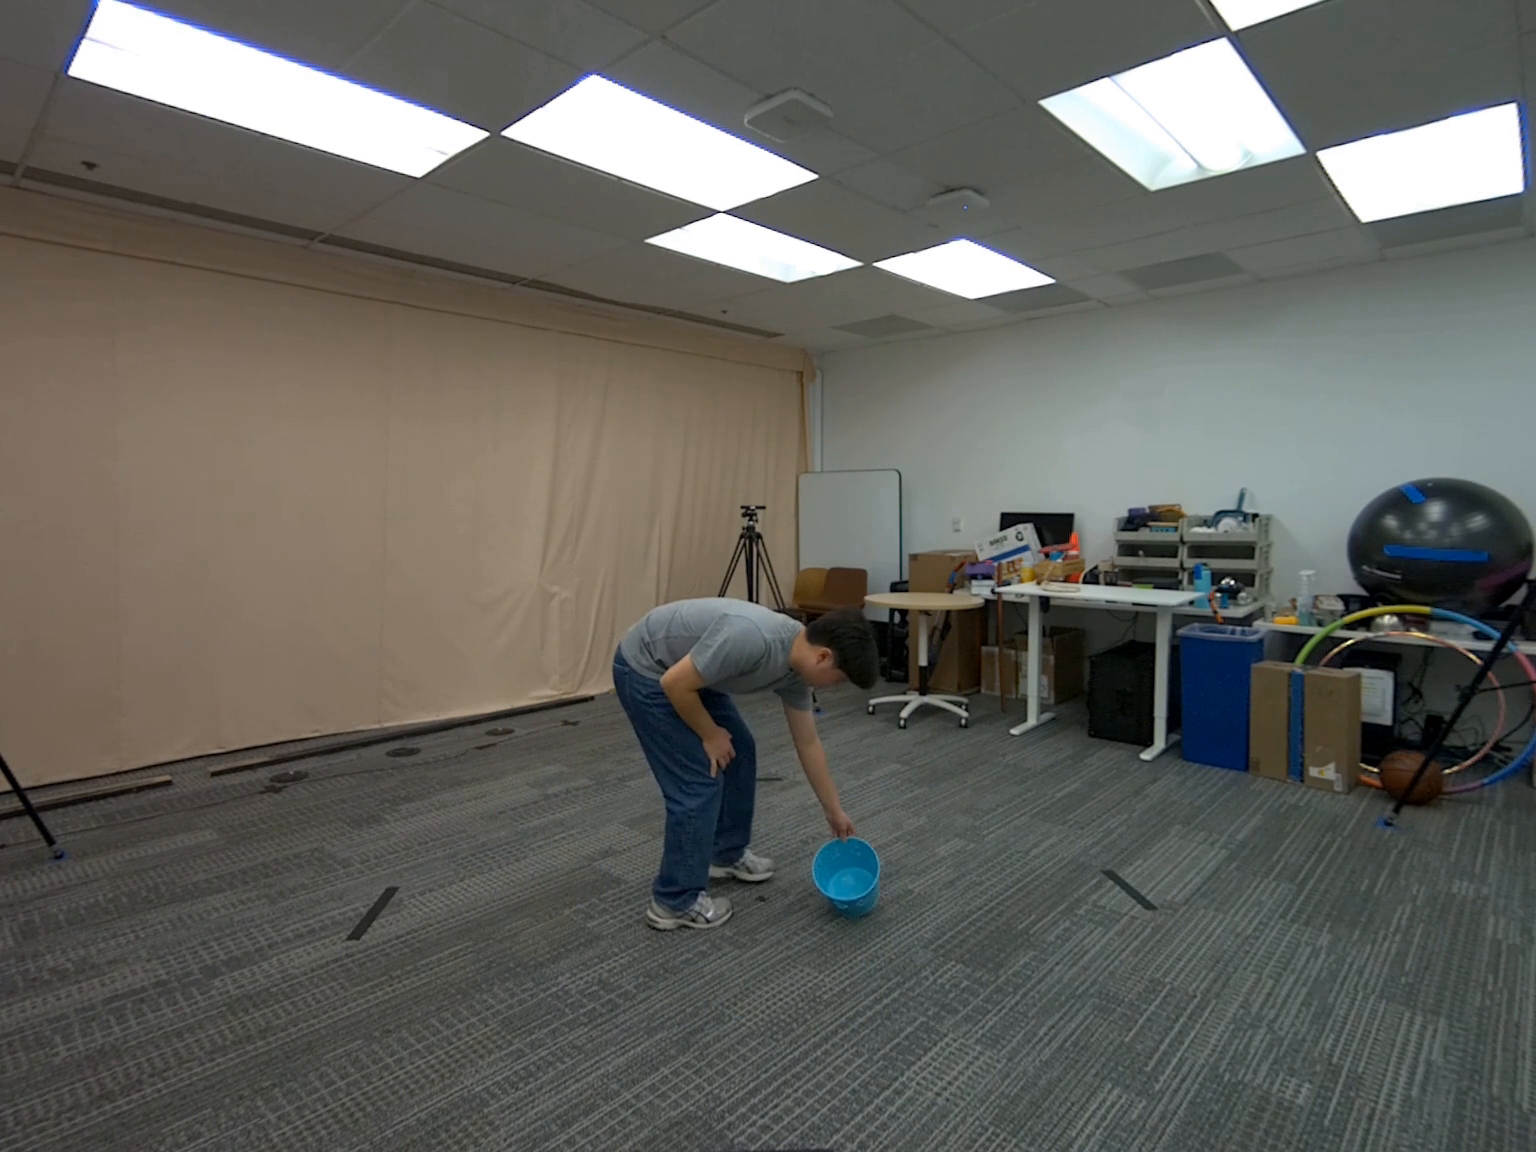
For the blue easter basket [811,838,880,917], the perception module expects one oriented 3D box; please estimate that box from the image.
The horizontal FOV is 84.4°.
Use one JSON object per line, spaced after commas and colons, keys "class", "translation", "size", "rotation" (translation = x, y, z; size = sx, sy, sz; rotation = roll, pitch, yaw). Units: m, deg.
{"class": "blue easter basket", "translation": [0.285, 1.039, 2.877], "size": [0.246, 0.151, 0.248], "rotation": [-15, 37, 10]}
